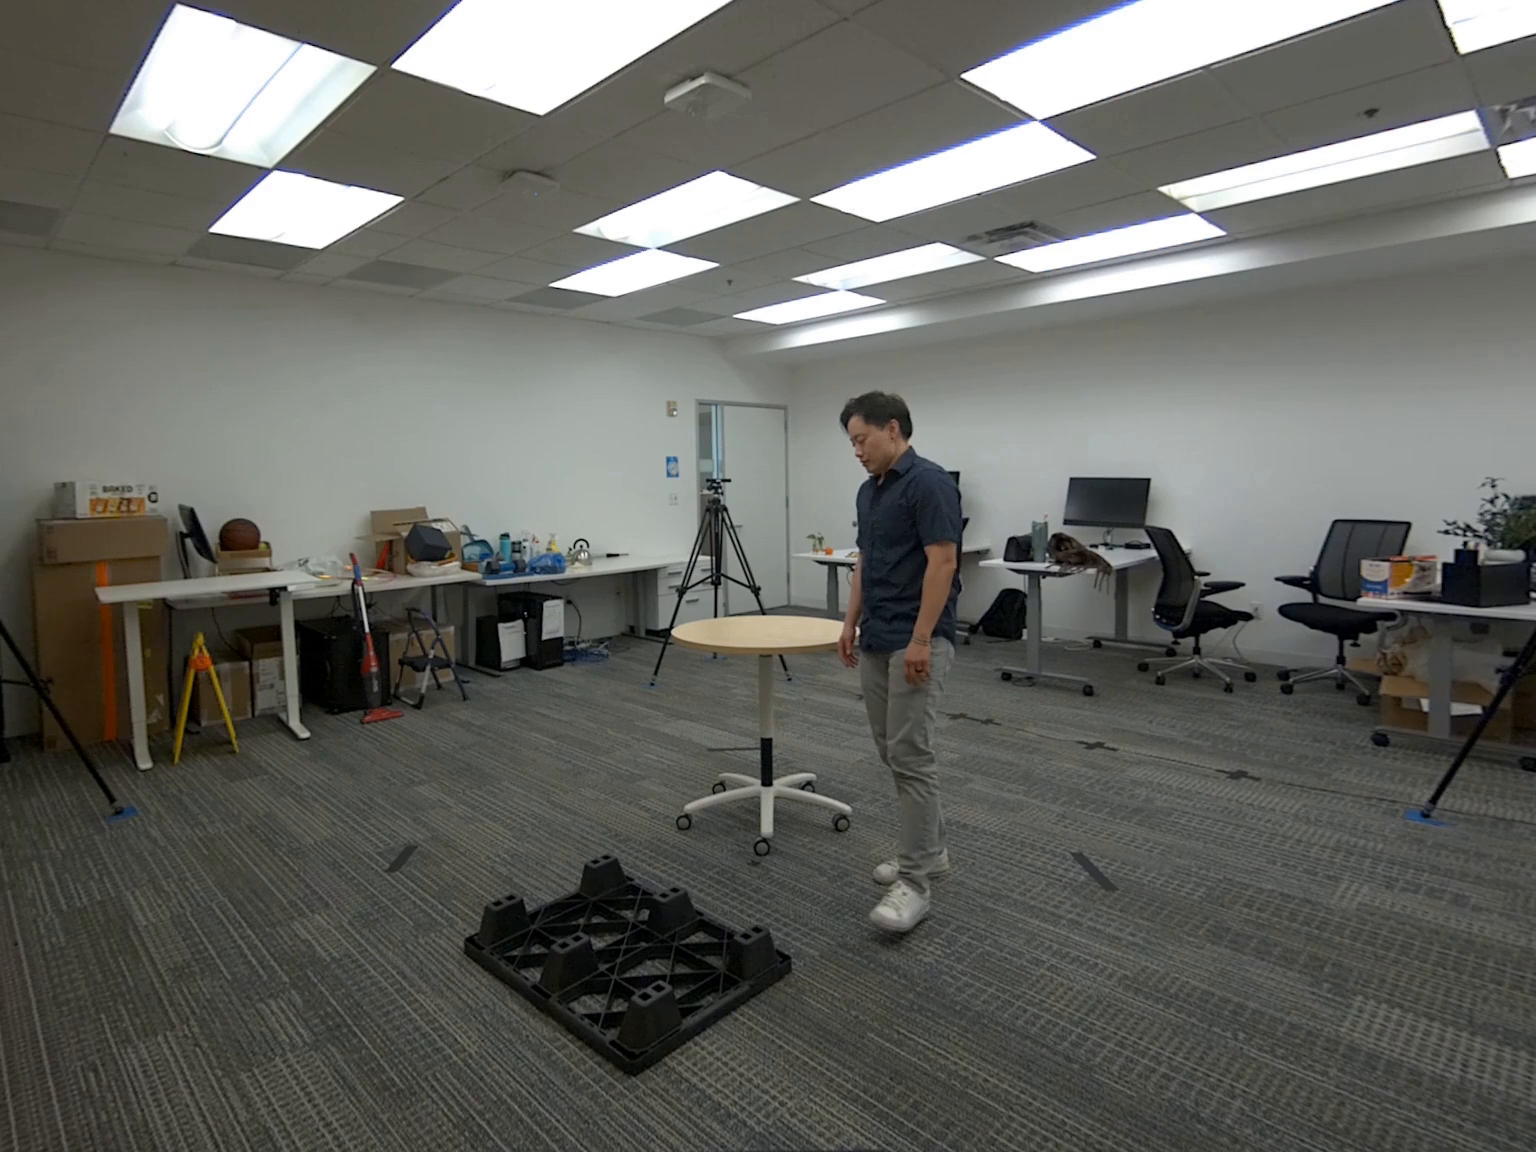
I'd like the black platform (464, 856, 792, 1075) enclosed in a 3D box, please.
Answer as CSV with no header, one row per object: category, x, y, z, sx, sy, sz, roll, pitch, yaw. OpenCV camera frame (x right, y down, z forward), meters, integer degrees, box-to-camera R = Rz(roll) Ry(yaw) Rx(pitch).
black platform,-0.422,1.057,2.489,0.830,0.143,0.589,5,9,42
